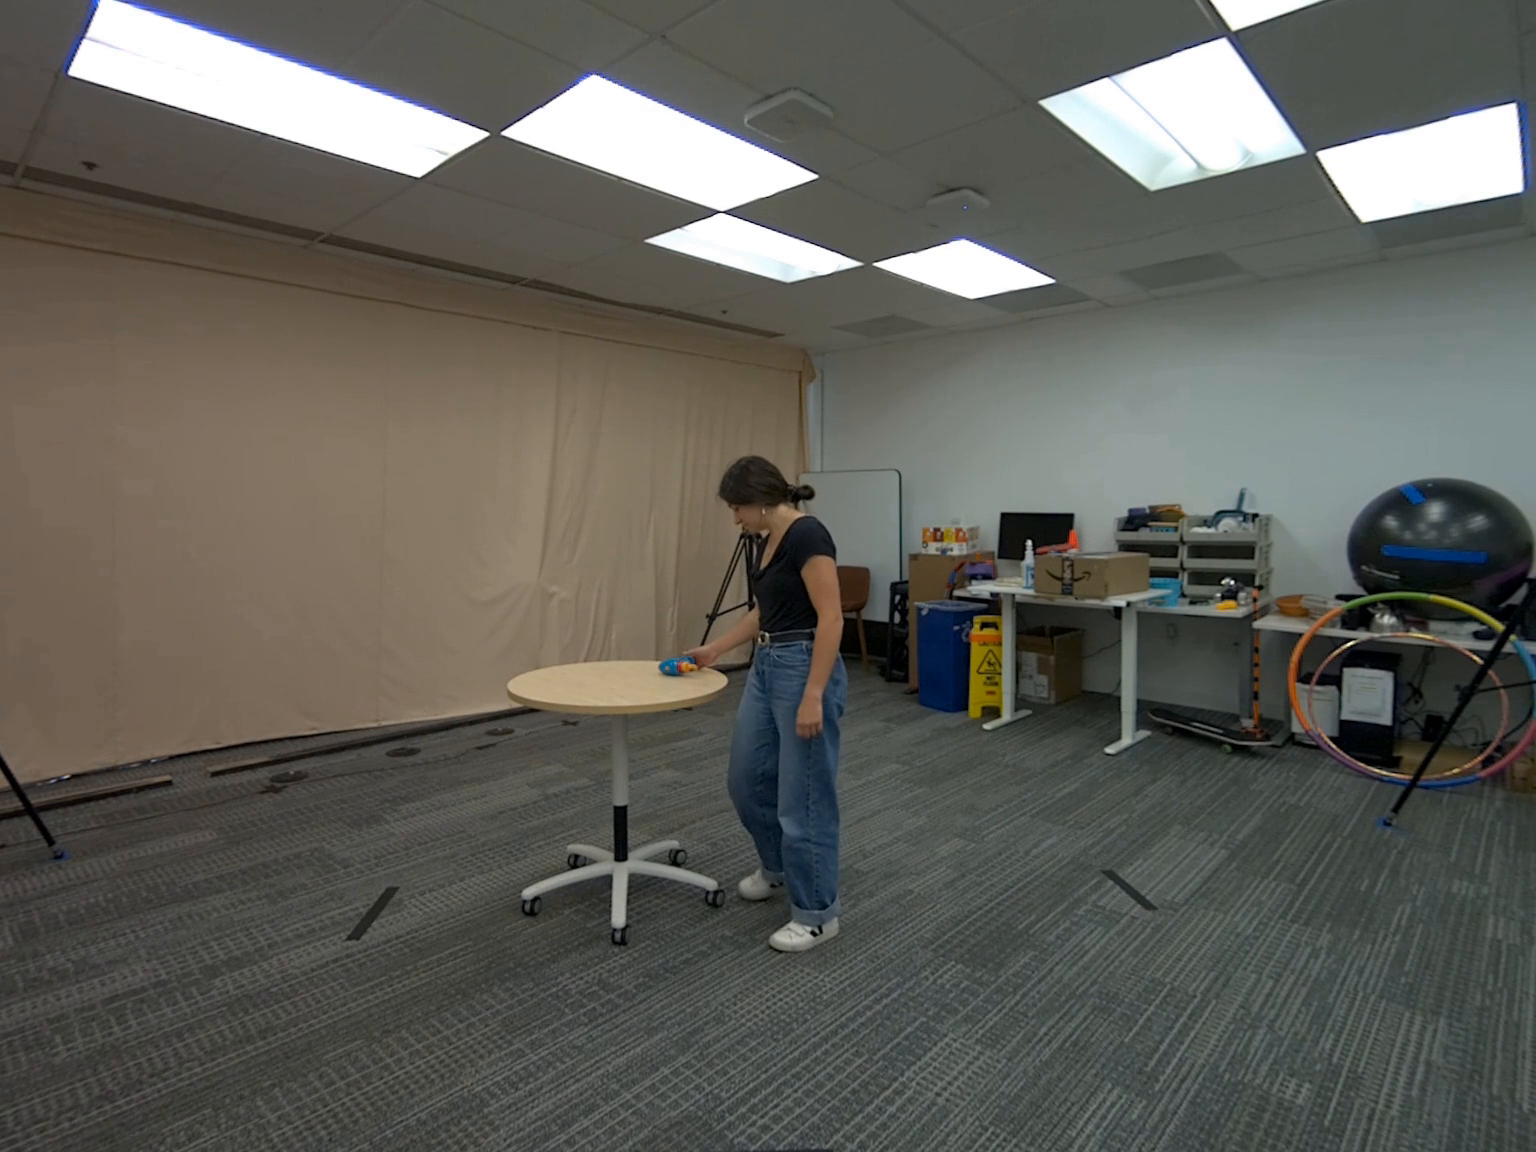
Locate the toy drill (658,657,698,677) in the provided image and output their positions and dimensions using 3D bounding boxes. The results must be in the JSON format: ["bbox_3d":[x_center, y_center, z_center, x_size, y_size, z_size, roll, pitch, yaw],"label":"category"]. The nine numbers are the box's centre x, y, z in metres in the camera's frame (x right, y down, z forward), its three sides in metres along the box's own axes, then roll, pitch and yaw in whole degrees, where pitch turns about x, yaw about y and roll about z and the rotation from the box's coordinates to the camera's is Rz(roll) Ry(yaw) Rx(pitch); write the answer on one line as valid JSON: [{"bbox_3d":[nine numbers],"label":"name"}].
[{"bbox_3d":[-0.303,0.329,3.072,0.174,0.061,0.142,-7,-1,35],"label":"toy drill"}]
